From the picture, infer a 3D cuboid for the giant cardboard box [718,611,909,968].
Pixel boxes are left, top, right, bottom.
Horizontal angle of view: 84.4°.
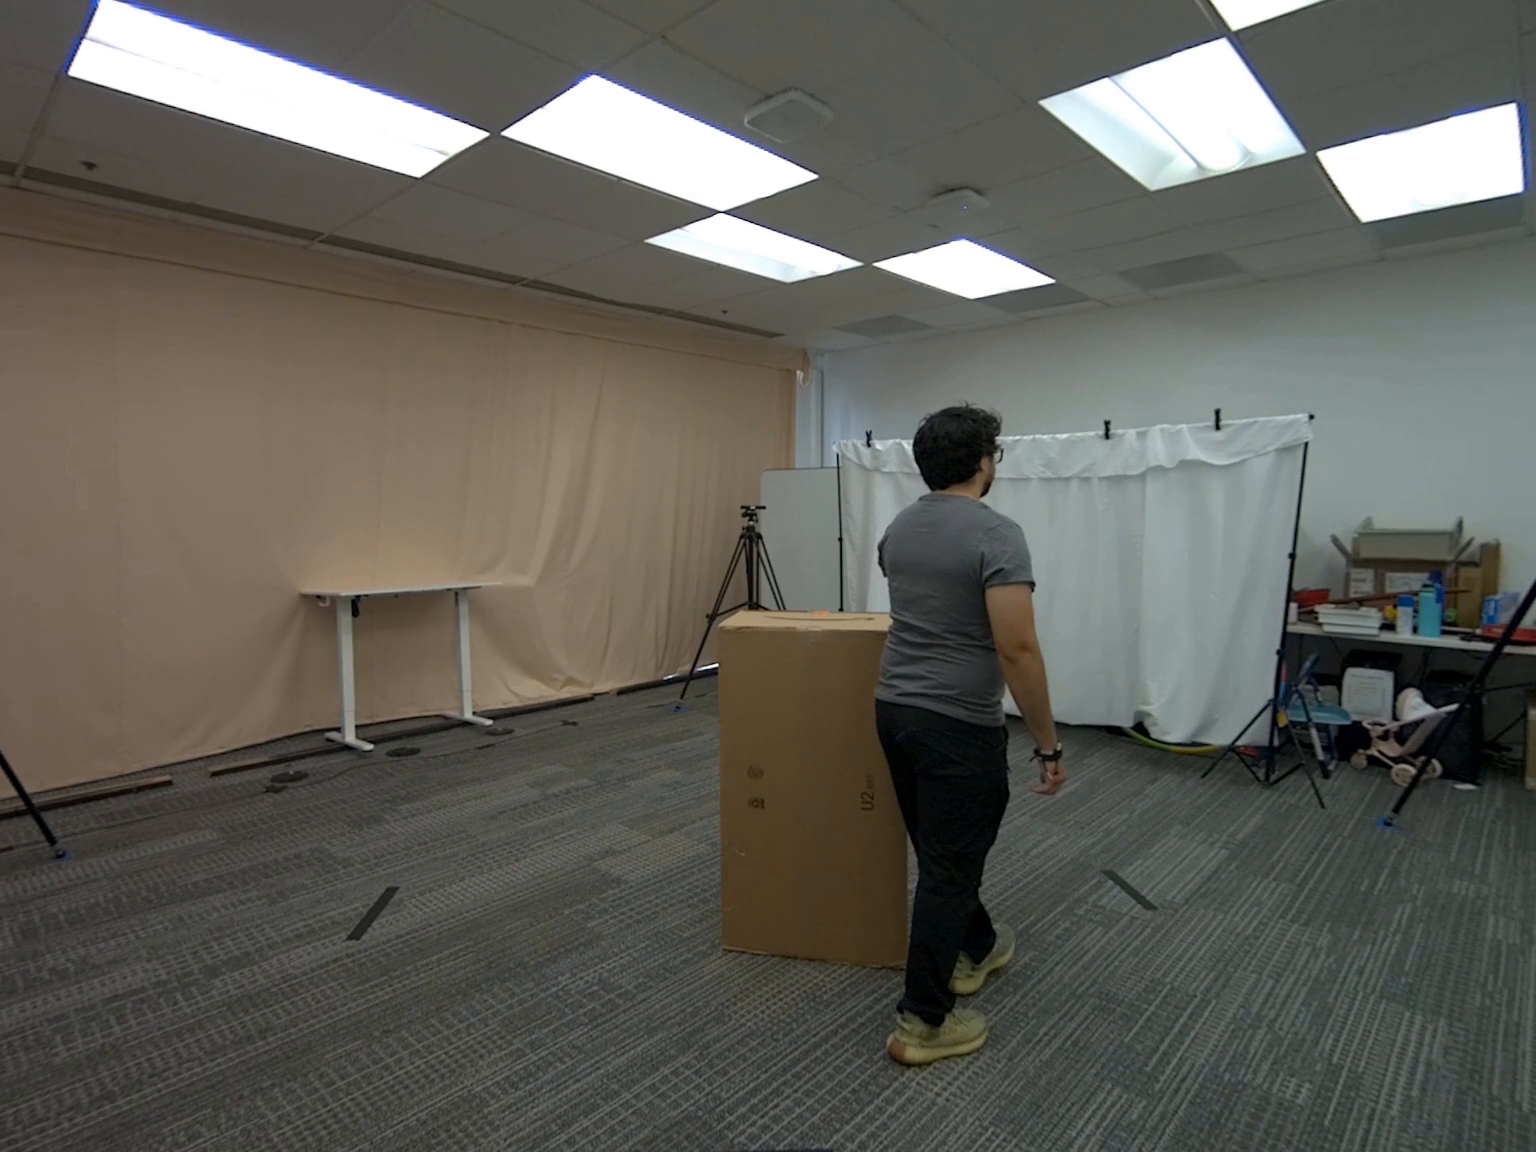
[{"bbox_3d":[0.164,0.651,2.768,0.585,1.024,0.421,0,3,11],"label":"giant cardboard box"}]
